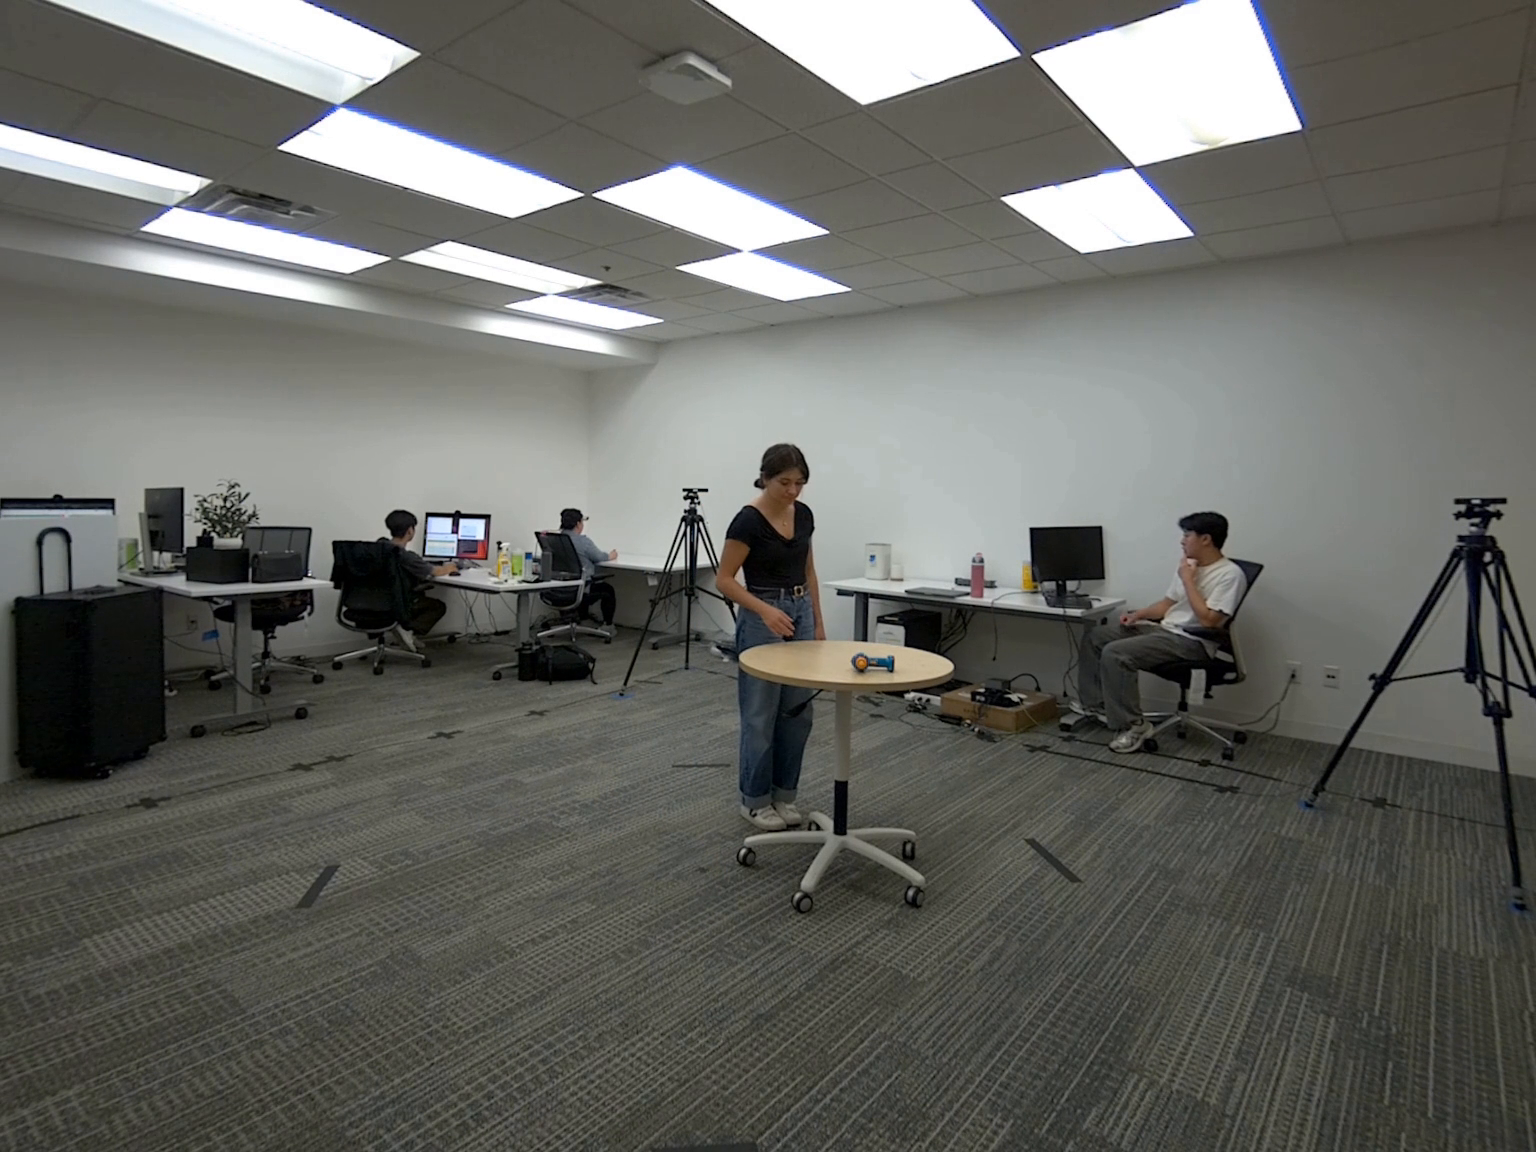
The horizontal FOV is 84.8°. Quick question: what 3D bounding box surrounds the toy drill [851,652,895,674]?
[{"bbox_3d":[0.362,0.285,2.873,0.147,0.061,0.168,2,-3,4],"label":"toy drill"}]
